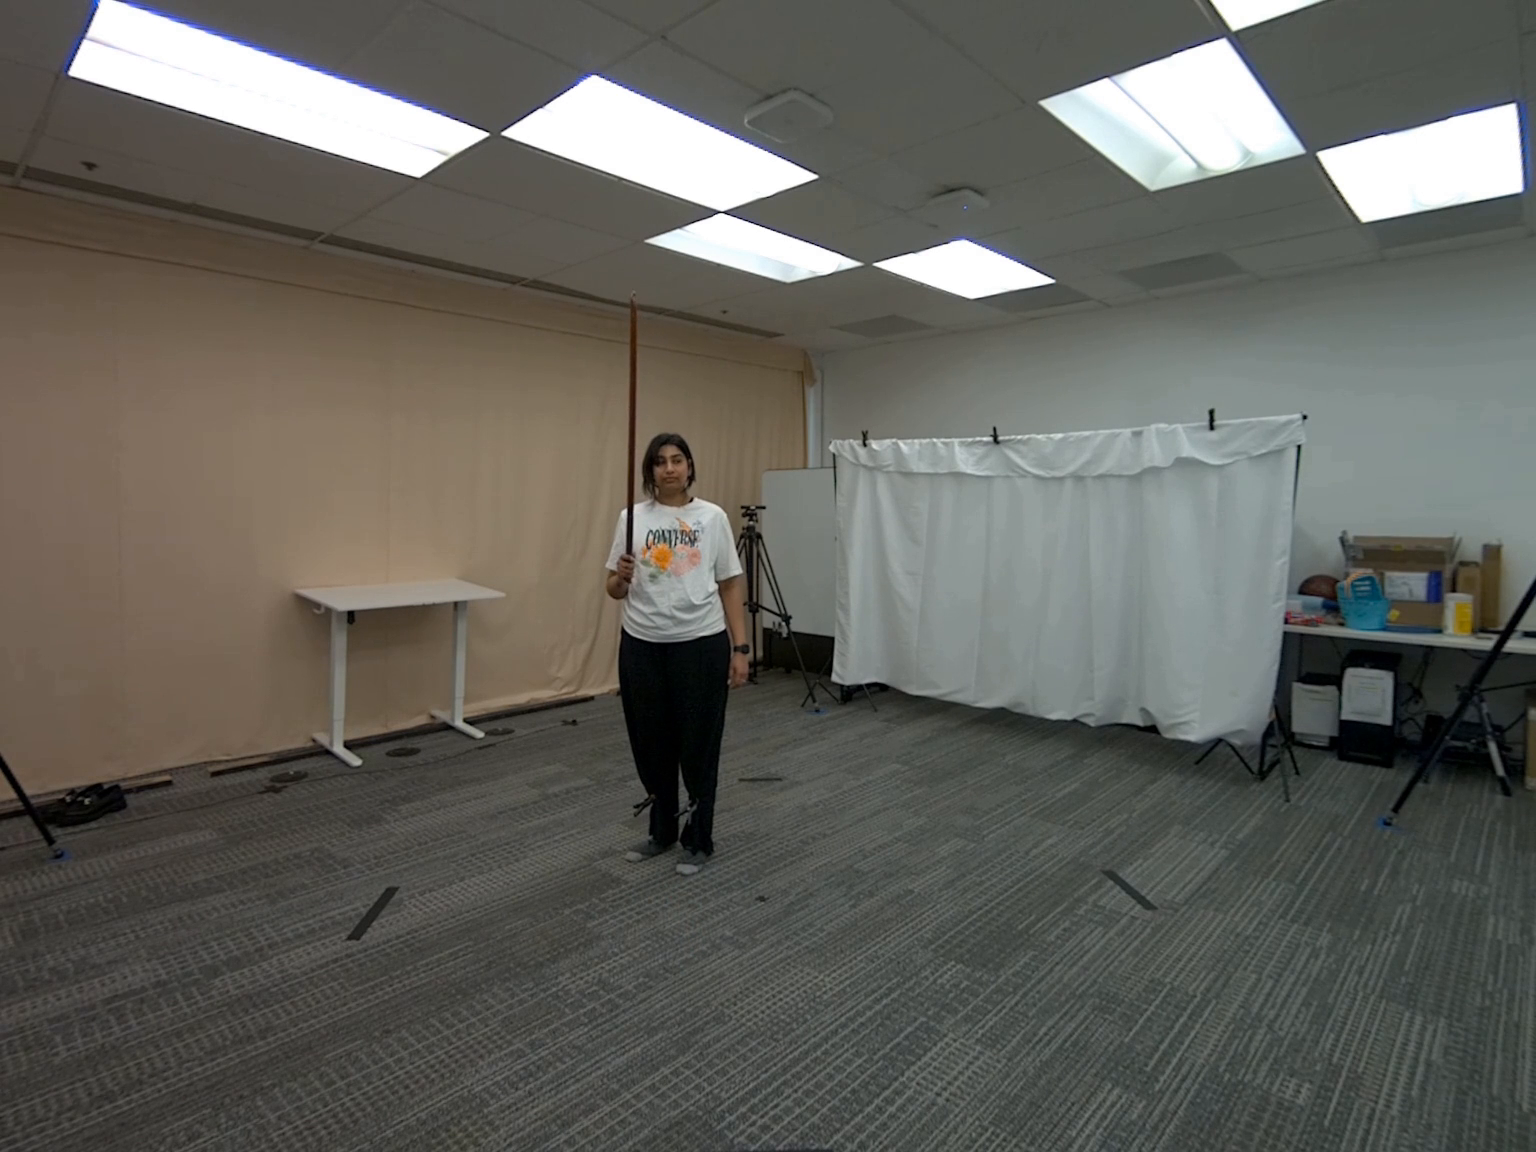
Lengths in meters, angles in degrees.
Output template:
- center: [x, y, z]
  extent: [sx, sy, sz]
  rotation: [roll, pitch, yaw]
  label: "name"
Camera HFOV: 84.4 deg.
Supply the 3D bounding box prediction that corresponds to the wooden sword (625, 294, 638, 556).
- center: [-0.472, -0.429, 2.888]
  extent: [0.050, 1.012, 0.025]
  rotation: [-13, 27, -35]
  label: "wooden sword"
